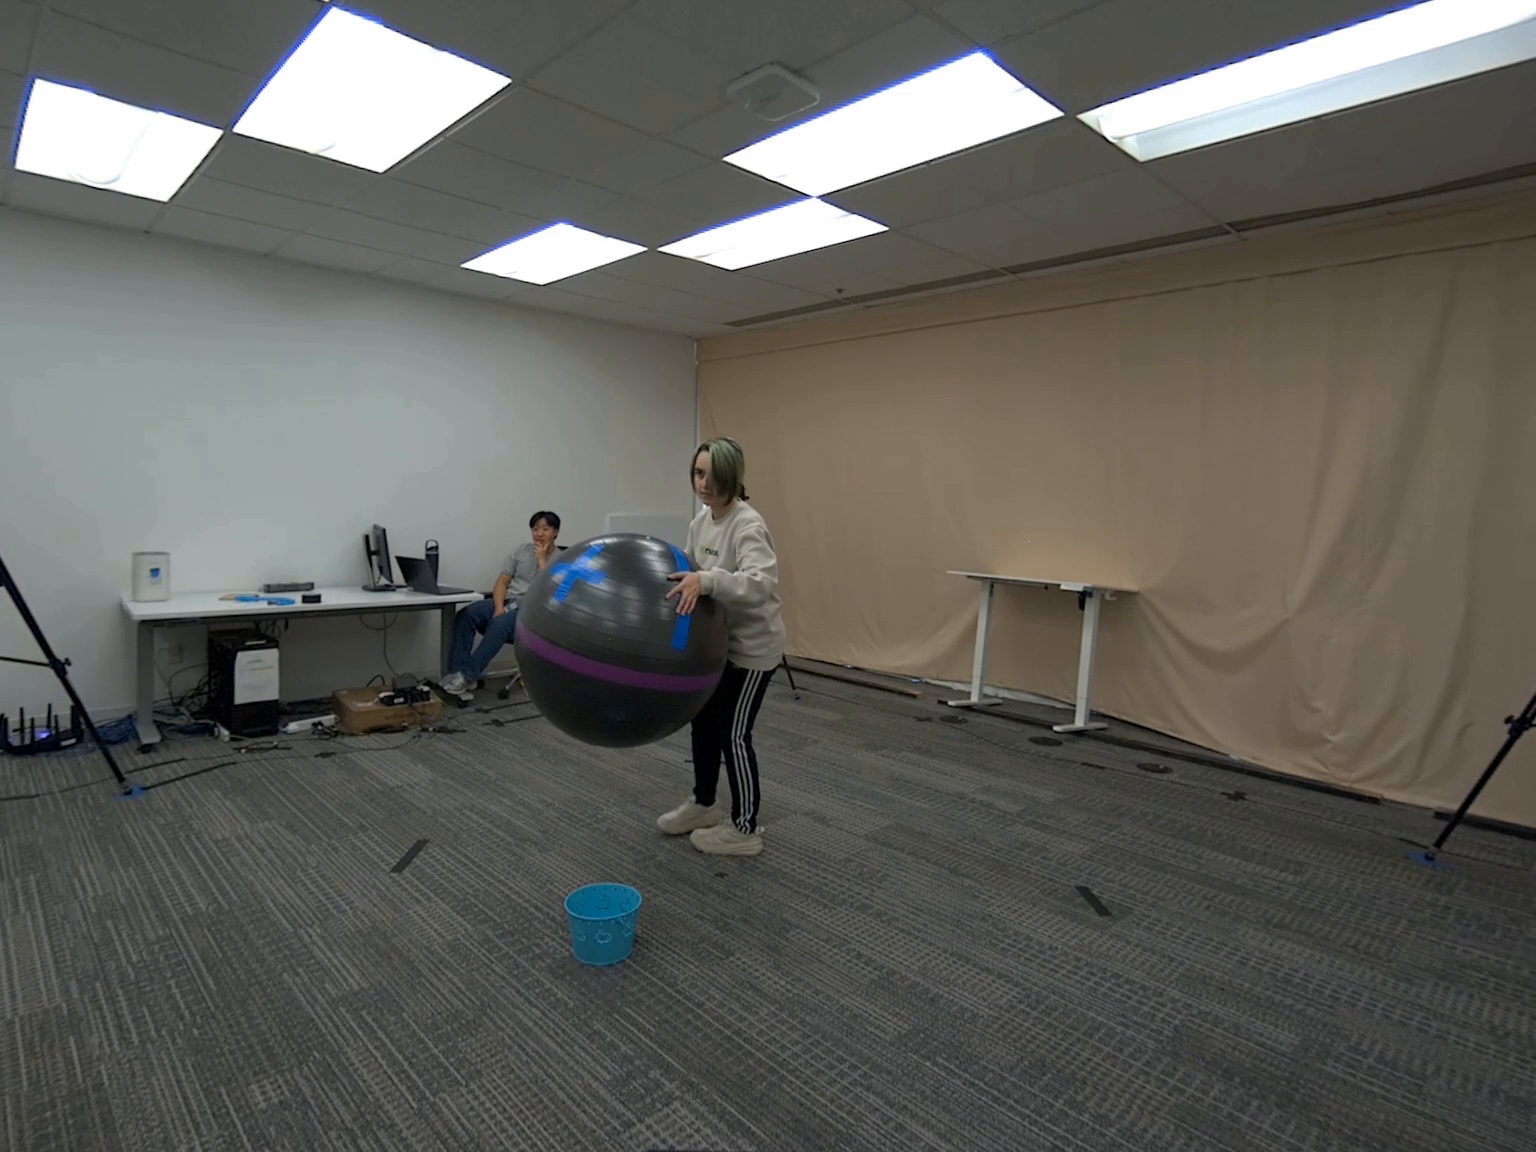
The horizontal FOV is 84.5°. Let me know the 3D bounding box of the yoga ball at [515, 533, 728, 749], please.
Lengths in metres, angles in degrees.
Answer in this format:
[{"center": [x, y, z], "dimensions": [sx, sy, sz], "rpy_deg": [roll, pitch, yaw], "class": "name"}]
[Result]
[{"center": [-0.527, 0.239, 3.017], "dimensions": [0.757, 0.756, 0.761], "rpy_deg": [1, 4, -1], "class": "yoga ball"}]
